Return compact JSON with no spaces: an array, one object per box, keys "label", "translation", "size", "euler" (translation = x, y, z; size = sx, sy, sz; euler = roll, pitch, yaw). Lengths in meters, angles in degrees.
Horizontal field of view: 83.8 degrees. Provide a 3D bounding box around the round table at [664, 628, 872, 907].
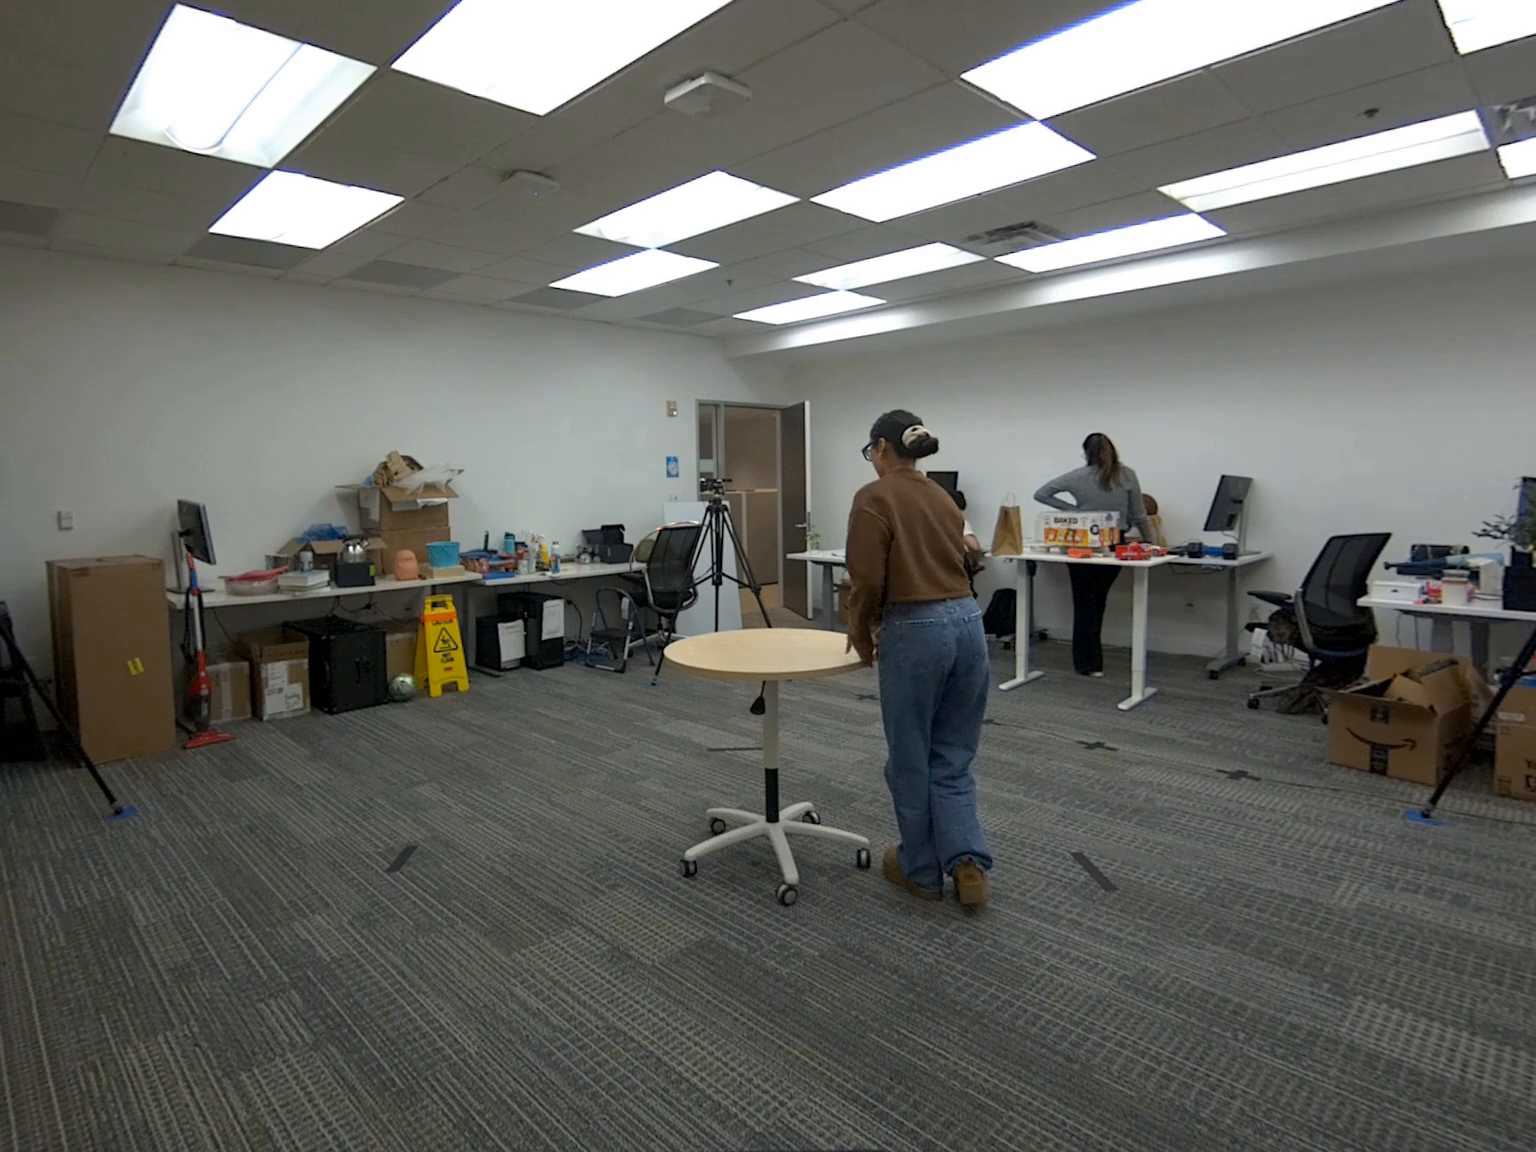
[{"label":"round table","translation":[0.012,0.649,3.109],"size":[0.784,0.783,0.789],"euler":[-1,5,-2]}]
